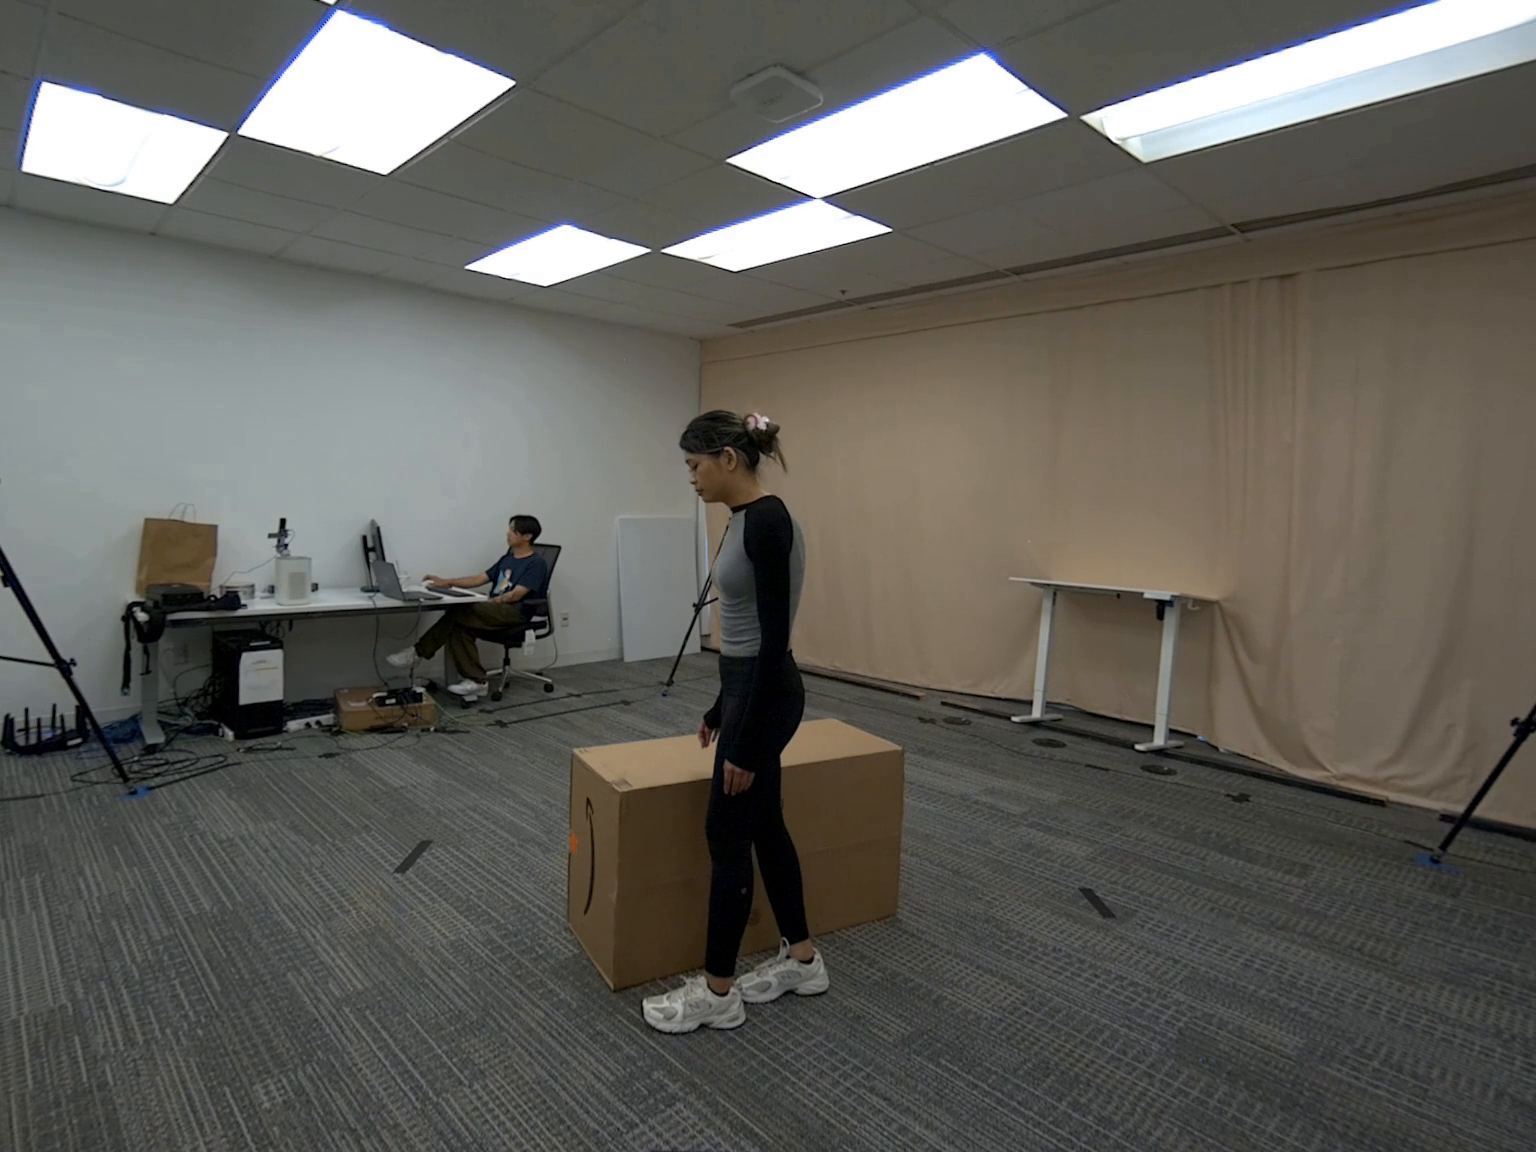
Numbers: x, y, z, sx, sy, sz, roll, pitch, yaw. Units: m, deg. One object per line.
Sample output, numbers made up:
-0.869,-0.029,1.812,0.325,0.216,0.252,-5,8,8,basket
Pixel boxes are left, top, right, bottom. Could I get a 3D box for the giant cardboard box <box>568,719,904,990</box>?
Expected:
-0.101,0.851,2.771,1.005,0.576,0.436,-1,5,-29,giant cardboard box
